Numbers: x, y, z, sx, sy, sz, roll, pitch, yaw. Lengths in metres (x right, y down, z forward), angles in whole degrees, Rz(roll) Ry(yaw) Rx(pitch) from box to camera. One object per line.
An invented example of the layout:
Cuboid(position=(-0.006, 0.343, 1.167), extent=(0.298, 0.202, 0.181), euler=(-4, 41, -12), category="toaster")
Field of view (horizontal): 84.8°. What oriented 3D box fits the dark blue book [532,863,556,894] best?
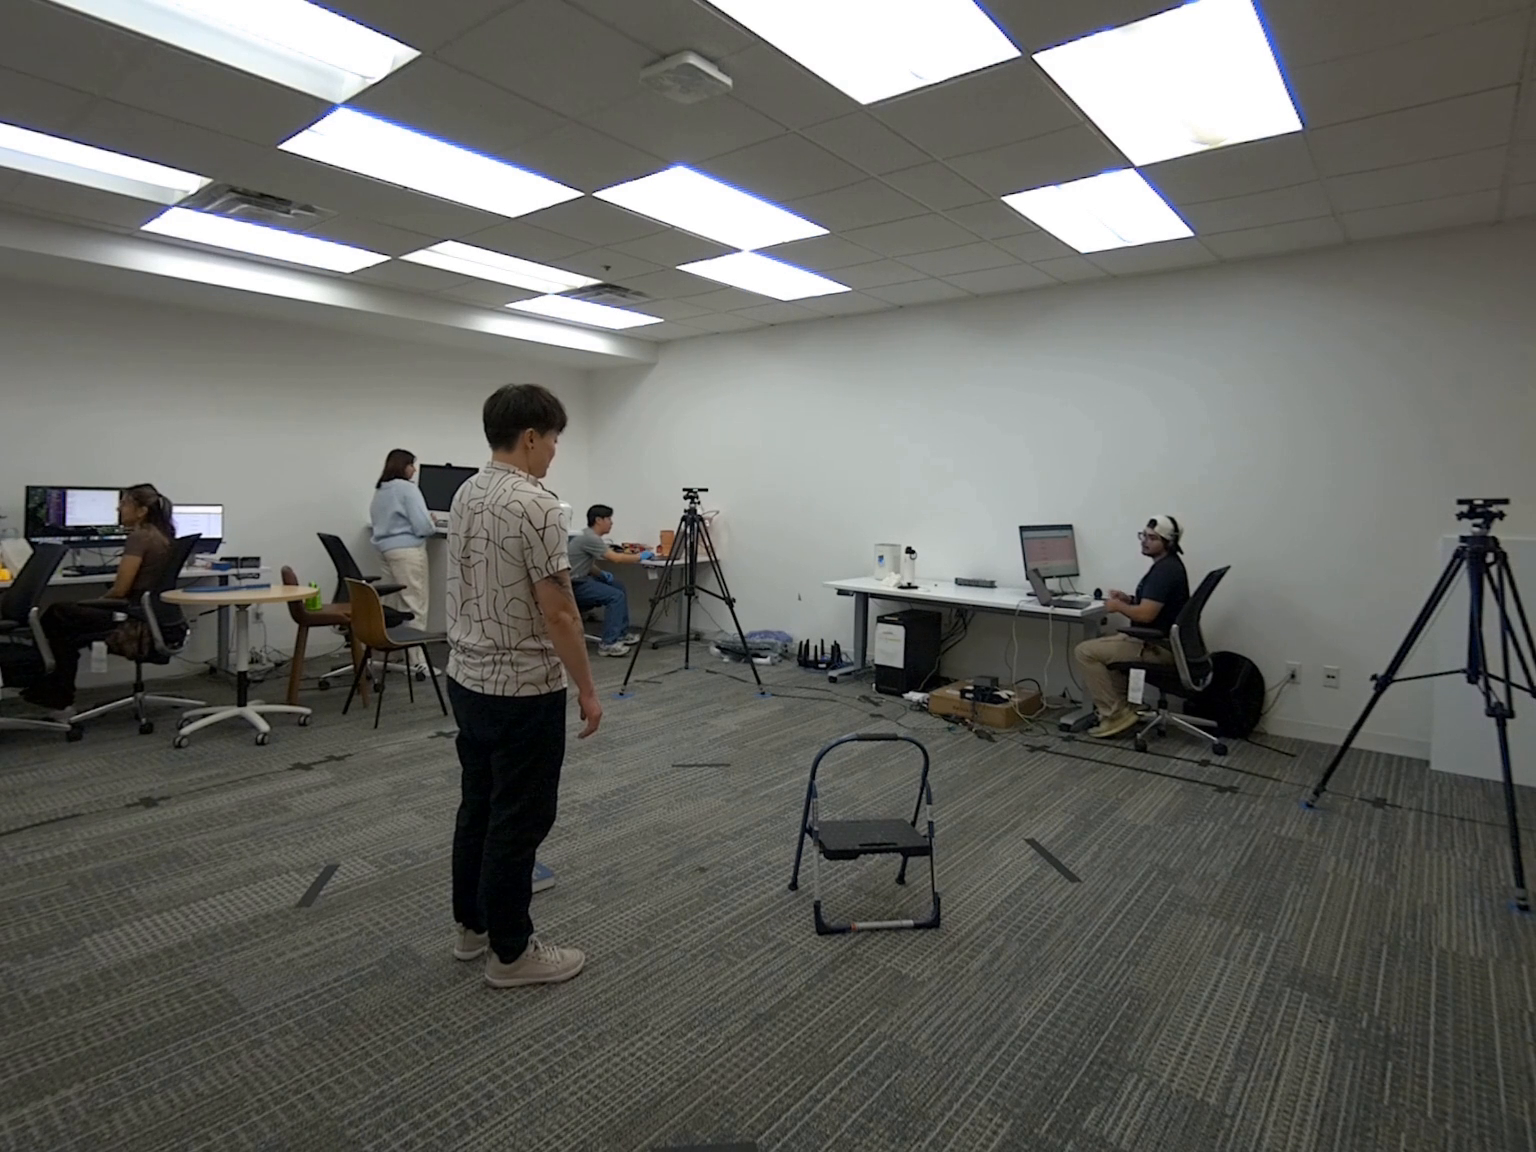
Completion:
Cuboid(position=(-0.887, 1.052, 2.927), extent=(0.238, 0.045, 0.169), euler=(-4, 7, -42), category="dark blue book")
